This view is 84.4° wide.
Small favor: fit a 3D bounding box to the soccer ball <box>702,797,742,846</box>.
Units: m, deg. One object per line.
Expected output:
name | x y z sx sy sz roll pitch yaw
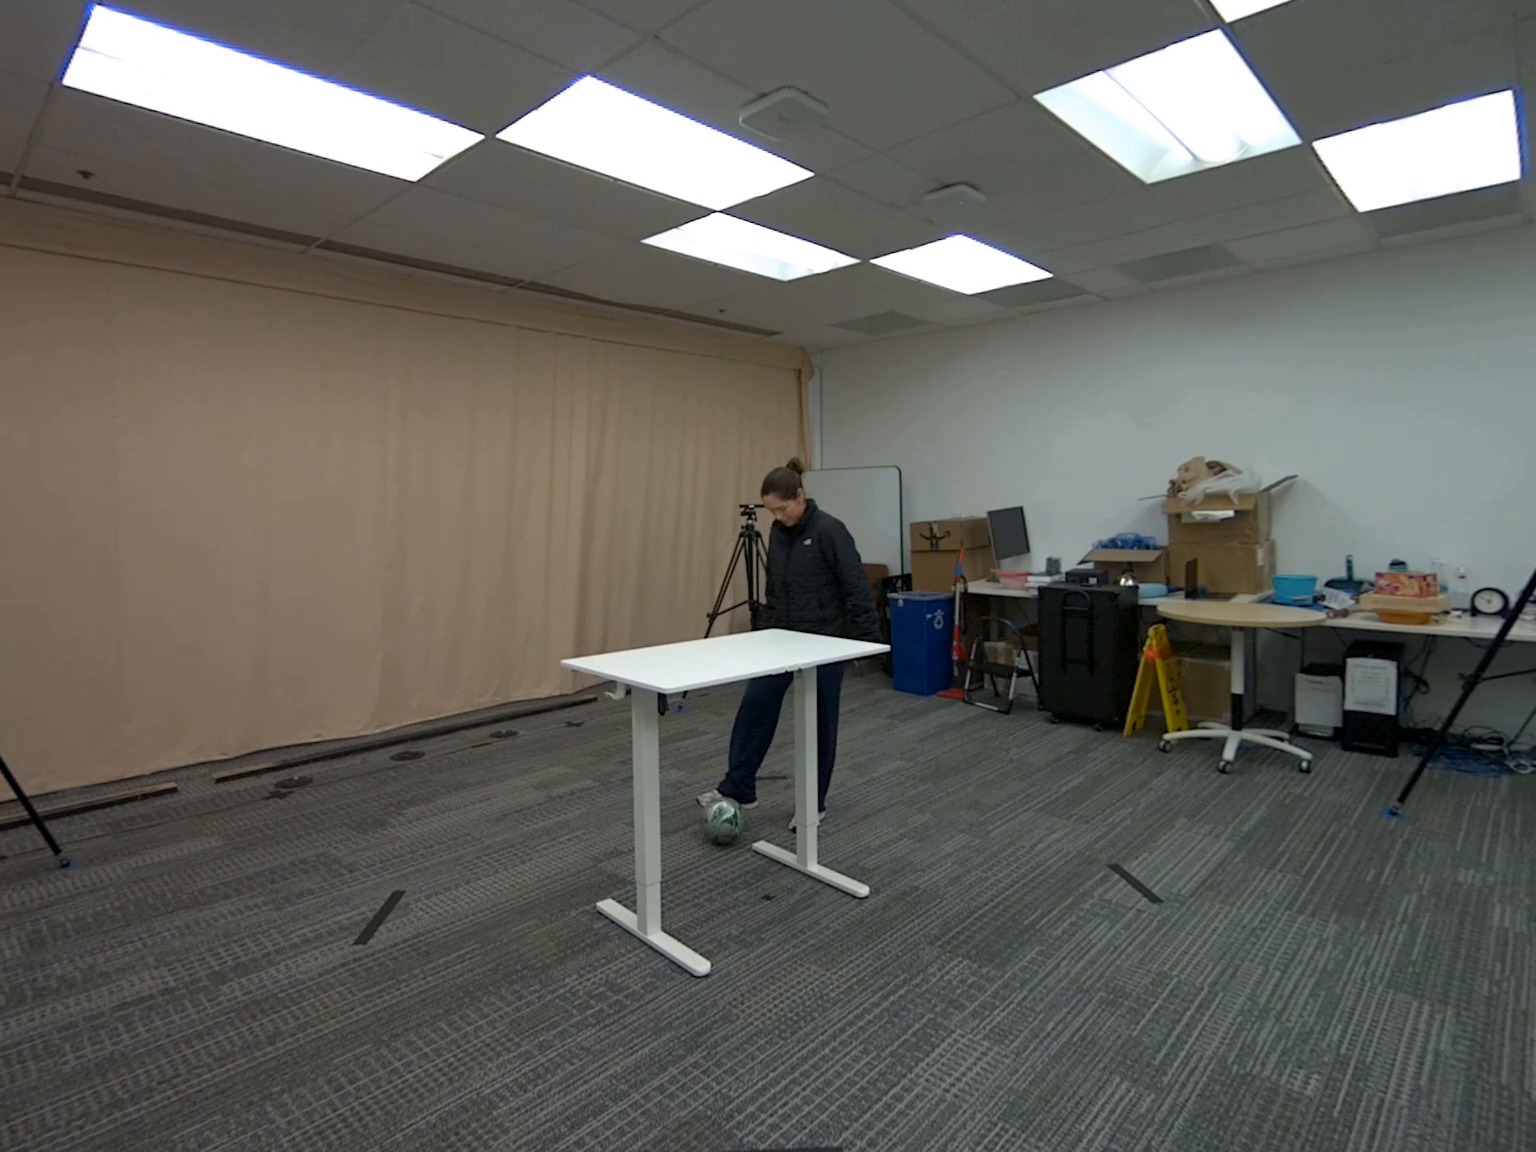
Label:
soccer ball | -0.186 1.005 3.460 0.187 0.187 0.188 -1 4 -2
